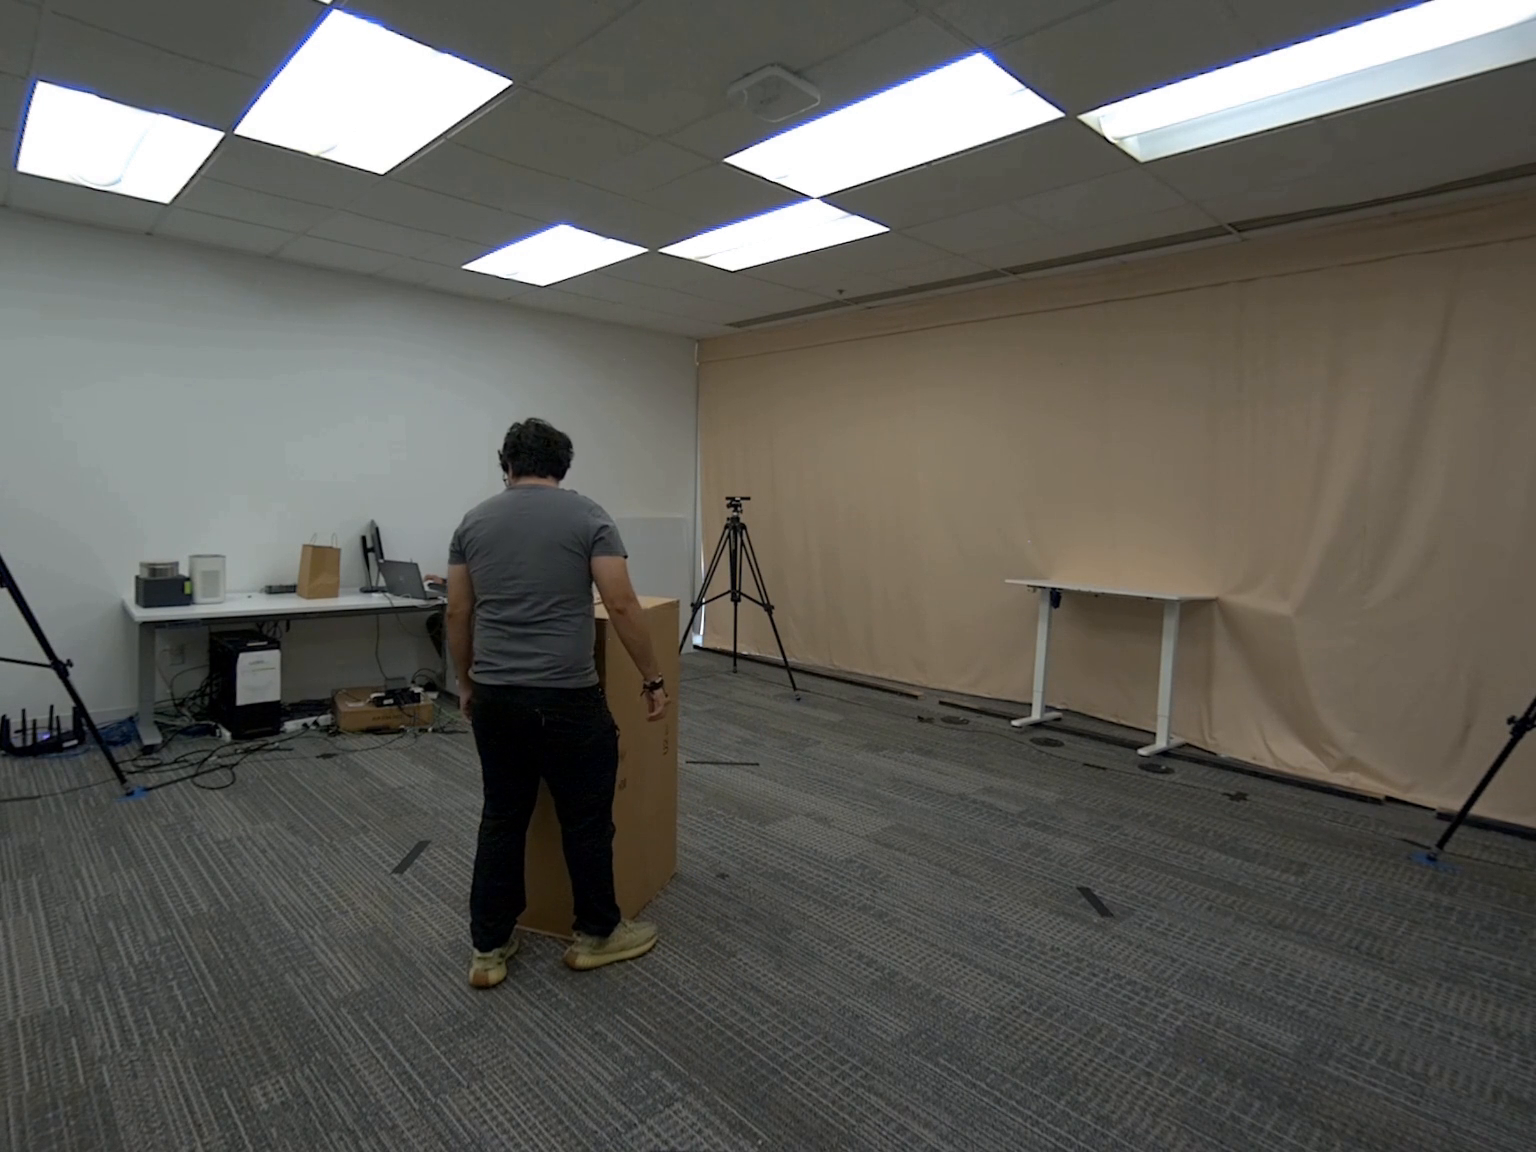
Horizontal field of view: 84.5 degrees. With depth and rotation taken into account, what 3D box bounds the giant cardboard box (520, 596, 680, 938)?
[{"bbox_3d":[-0.617,0.609,2.902,0.453,1.024,0.577,3,4,18],"label":"giant cardboard box"}]
